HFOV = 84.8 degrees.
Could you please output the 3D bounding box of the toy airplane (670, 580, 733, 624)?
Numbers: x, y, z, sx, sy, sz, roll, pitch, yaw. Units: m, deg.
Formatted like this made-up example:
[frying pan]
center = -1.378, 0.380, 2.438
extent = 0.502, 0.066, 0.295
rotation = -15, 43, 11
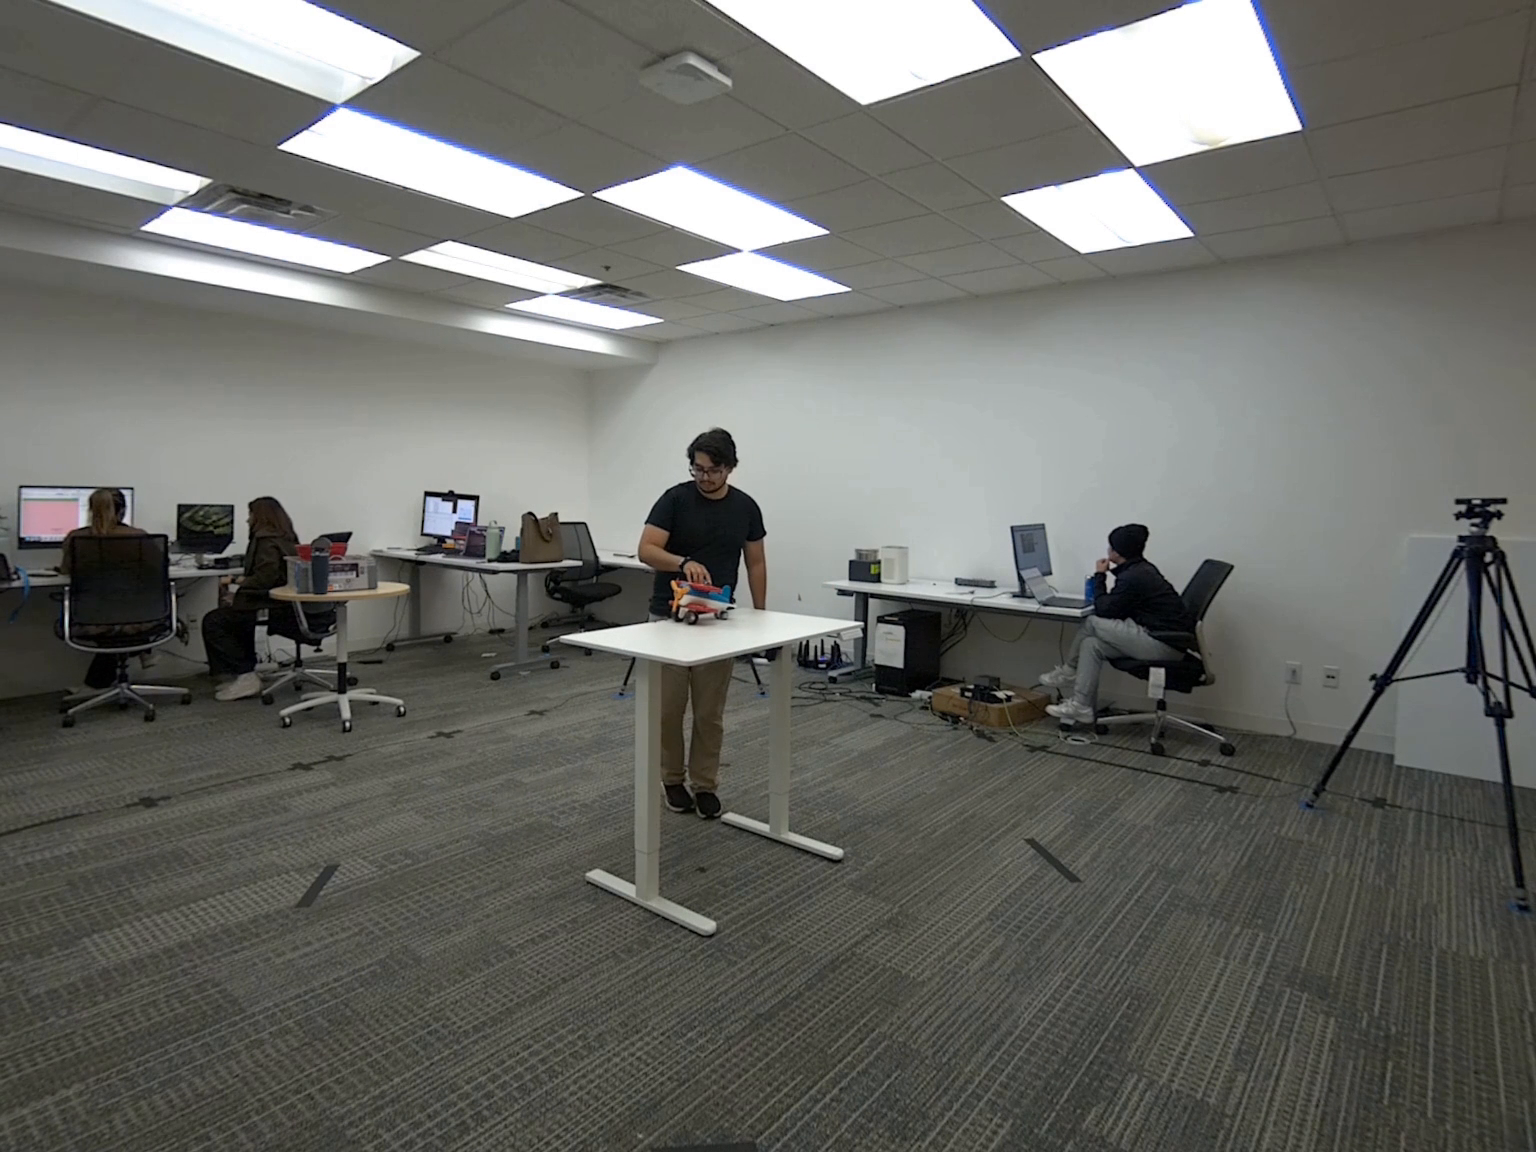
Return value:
[toy airplane]
center = -0.277, 0.091, 3.273
extent = 0.257, 0.155, 0.254
rotation = 4, 7, 23
